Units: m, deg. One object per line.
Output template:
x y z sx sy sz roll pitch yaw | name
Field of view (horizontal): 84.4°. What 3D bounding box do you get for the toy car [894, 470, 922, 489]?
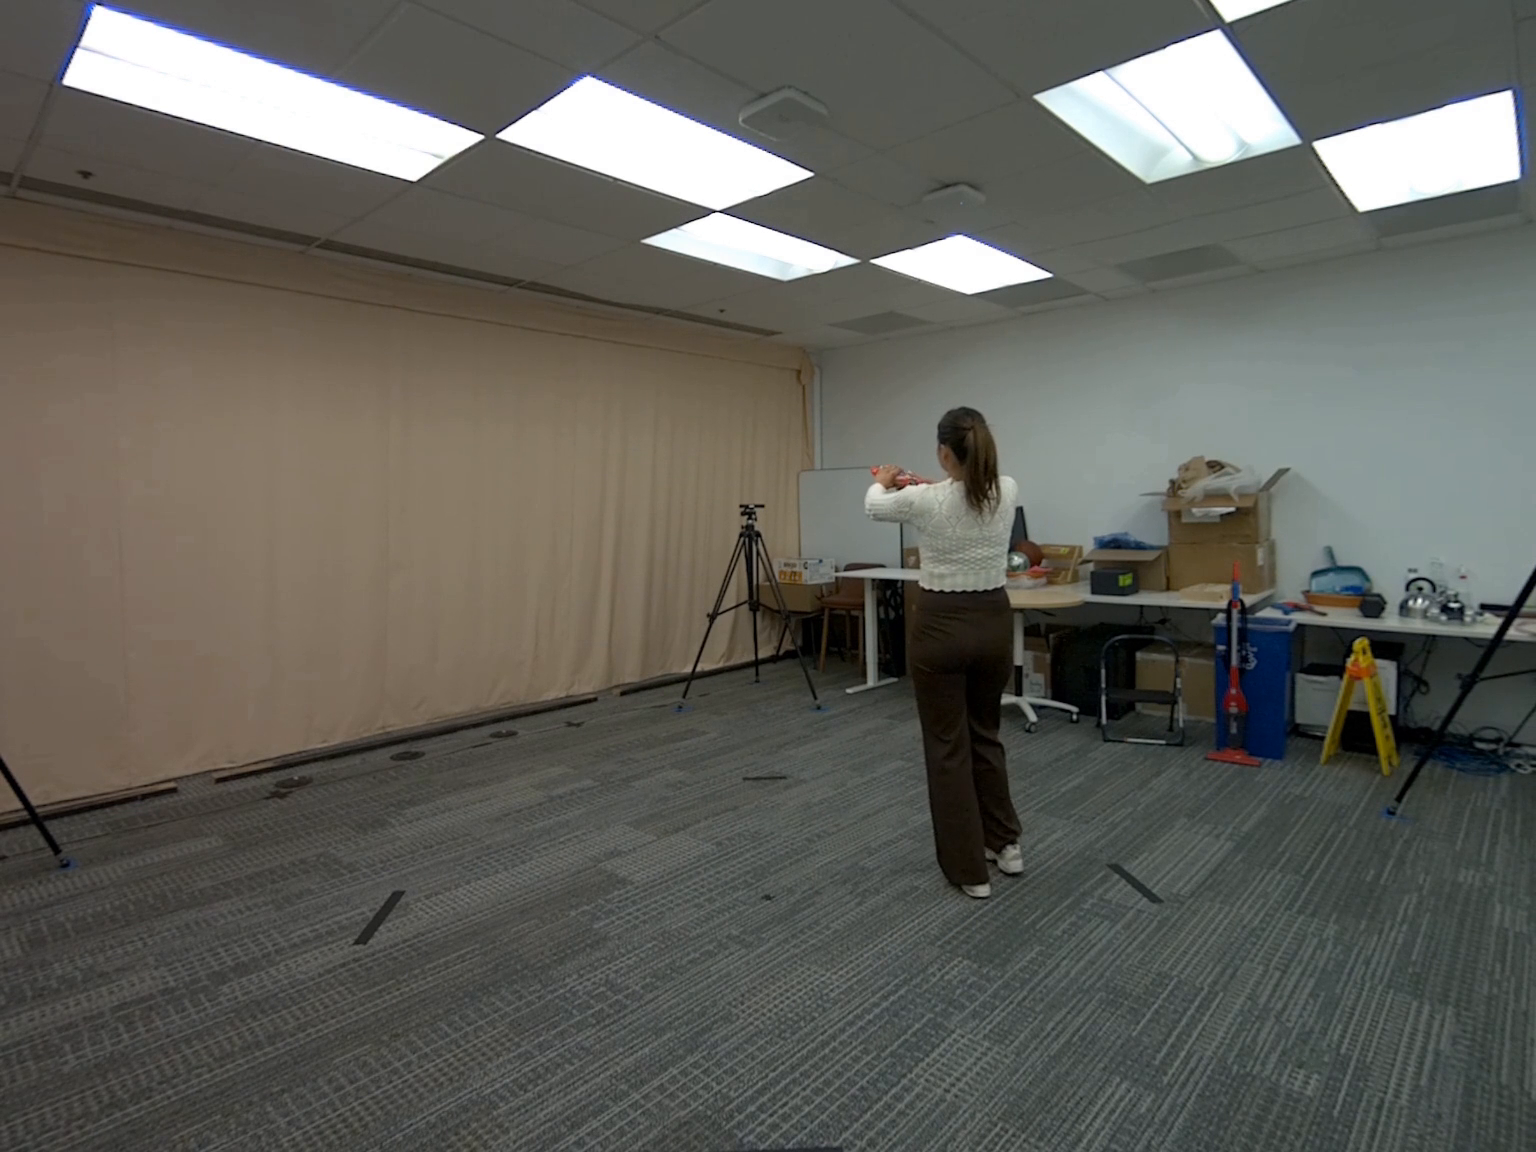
0.541 -0.398 3.476 0.263 0.083 0.126 37 11 34 | toy car
